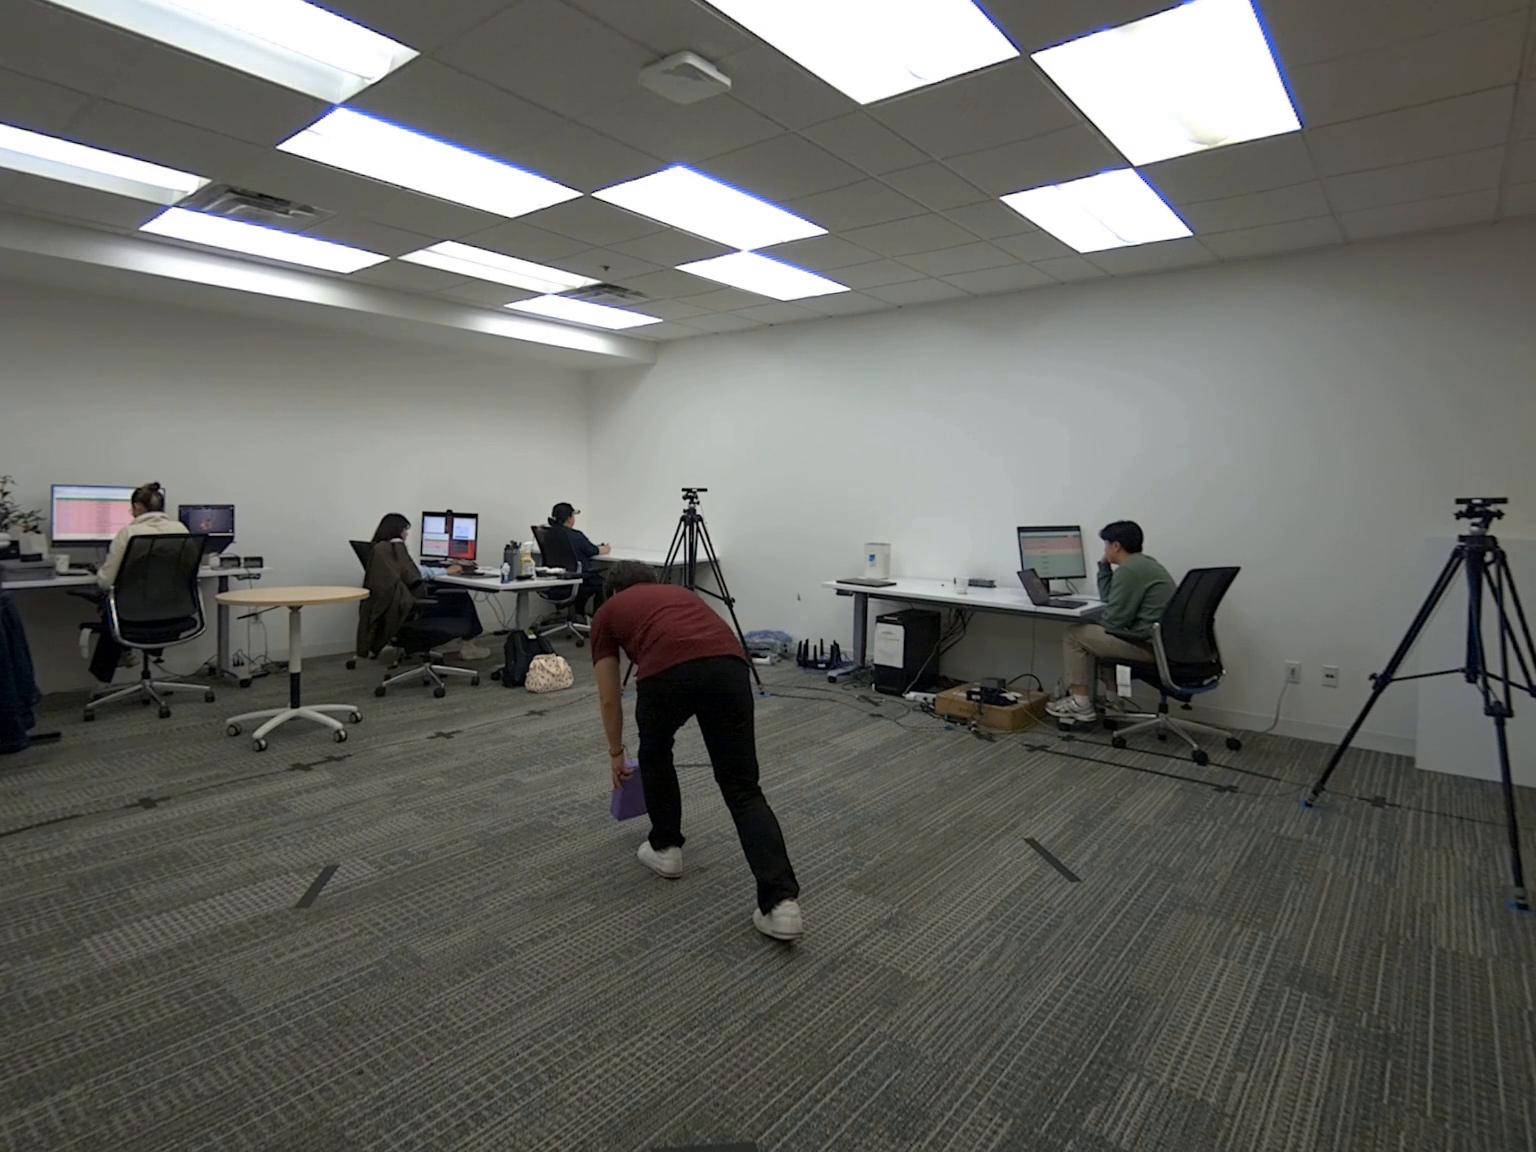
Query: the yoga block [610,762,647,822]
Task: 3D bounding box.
[{"bbox_3d":[-0.556,0.831,3.395,0.145,0.227,0.079,-4,14,-40],"label":"yoga block"}]
